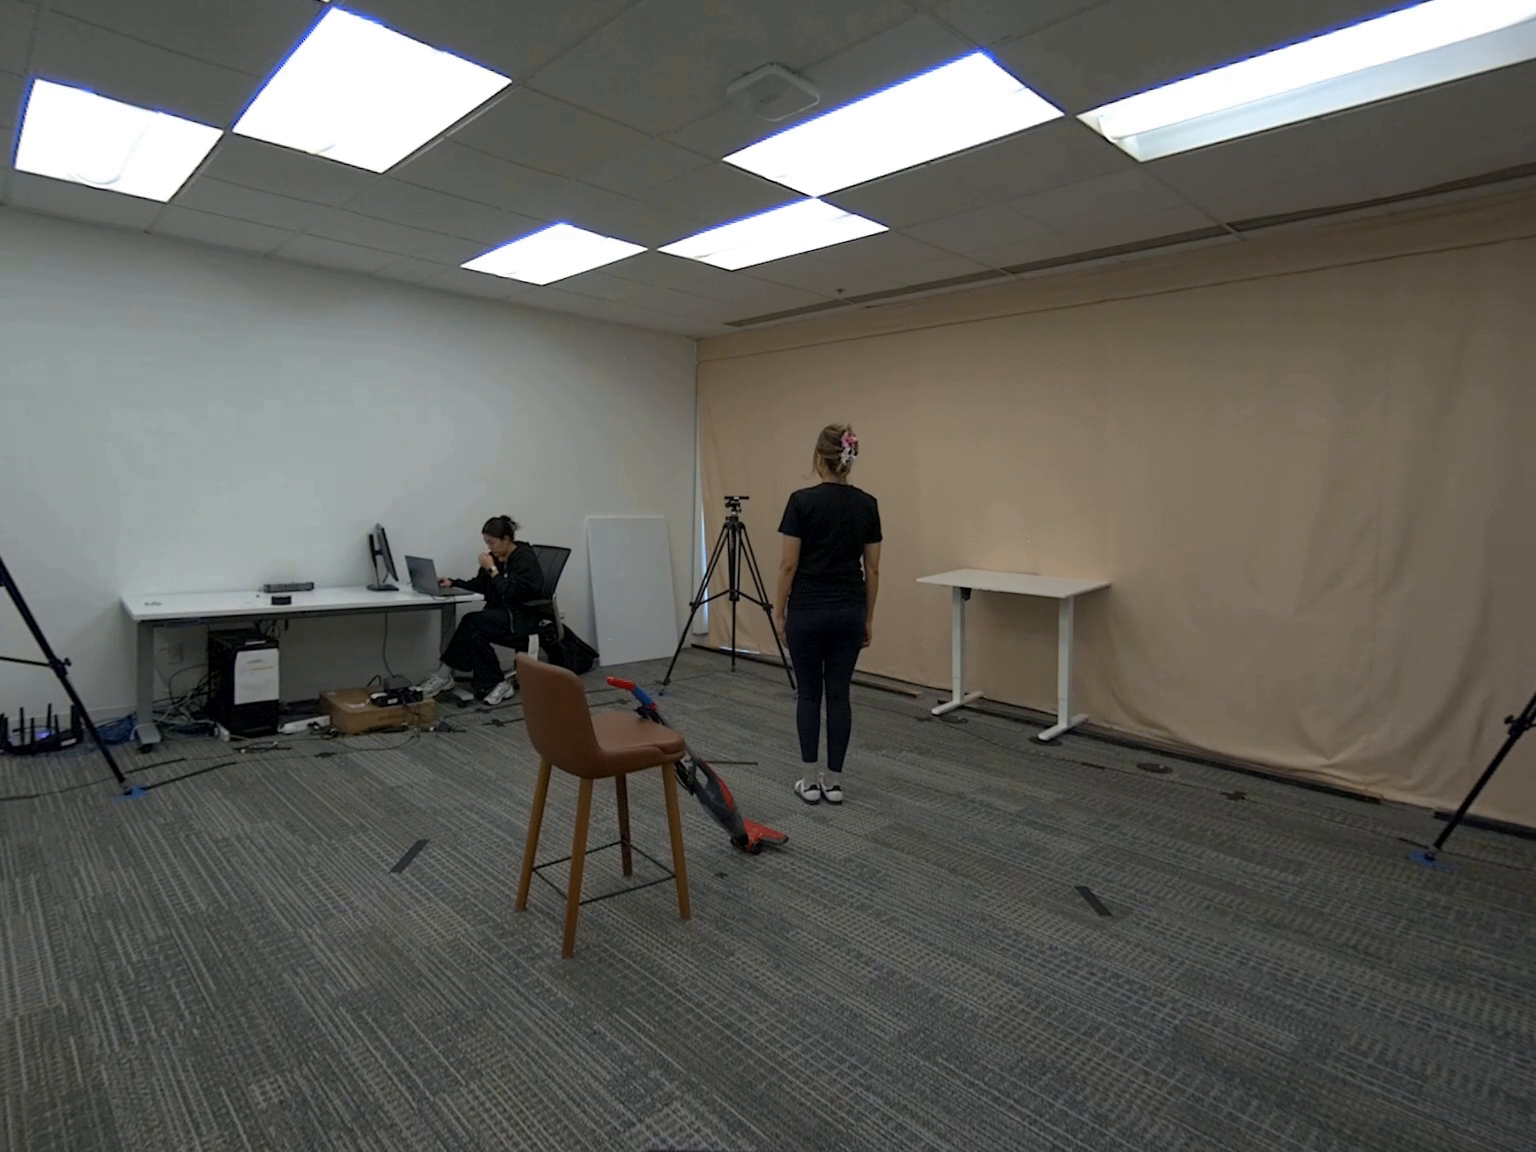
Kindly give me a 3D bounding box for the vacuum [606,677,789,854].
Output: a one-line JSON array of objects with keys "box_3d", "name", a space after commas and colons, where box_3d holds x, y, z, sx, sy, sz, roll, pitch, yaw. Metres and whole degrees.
[{"box_3d": [-0.289, 0.708, 3.100, 0.259, 1.020, 0.144, 2, 47, 43], "name": "vacuum"}]
